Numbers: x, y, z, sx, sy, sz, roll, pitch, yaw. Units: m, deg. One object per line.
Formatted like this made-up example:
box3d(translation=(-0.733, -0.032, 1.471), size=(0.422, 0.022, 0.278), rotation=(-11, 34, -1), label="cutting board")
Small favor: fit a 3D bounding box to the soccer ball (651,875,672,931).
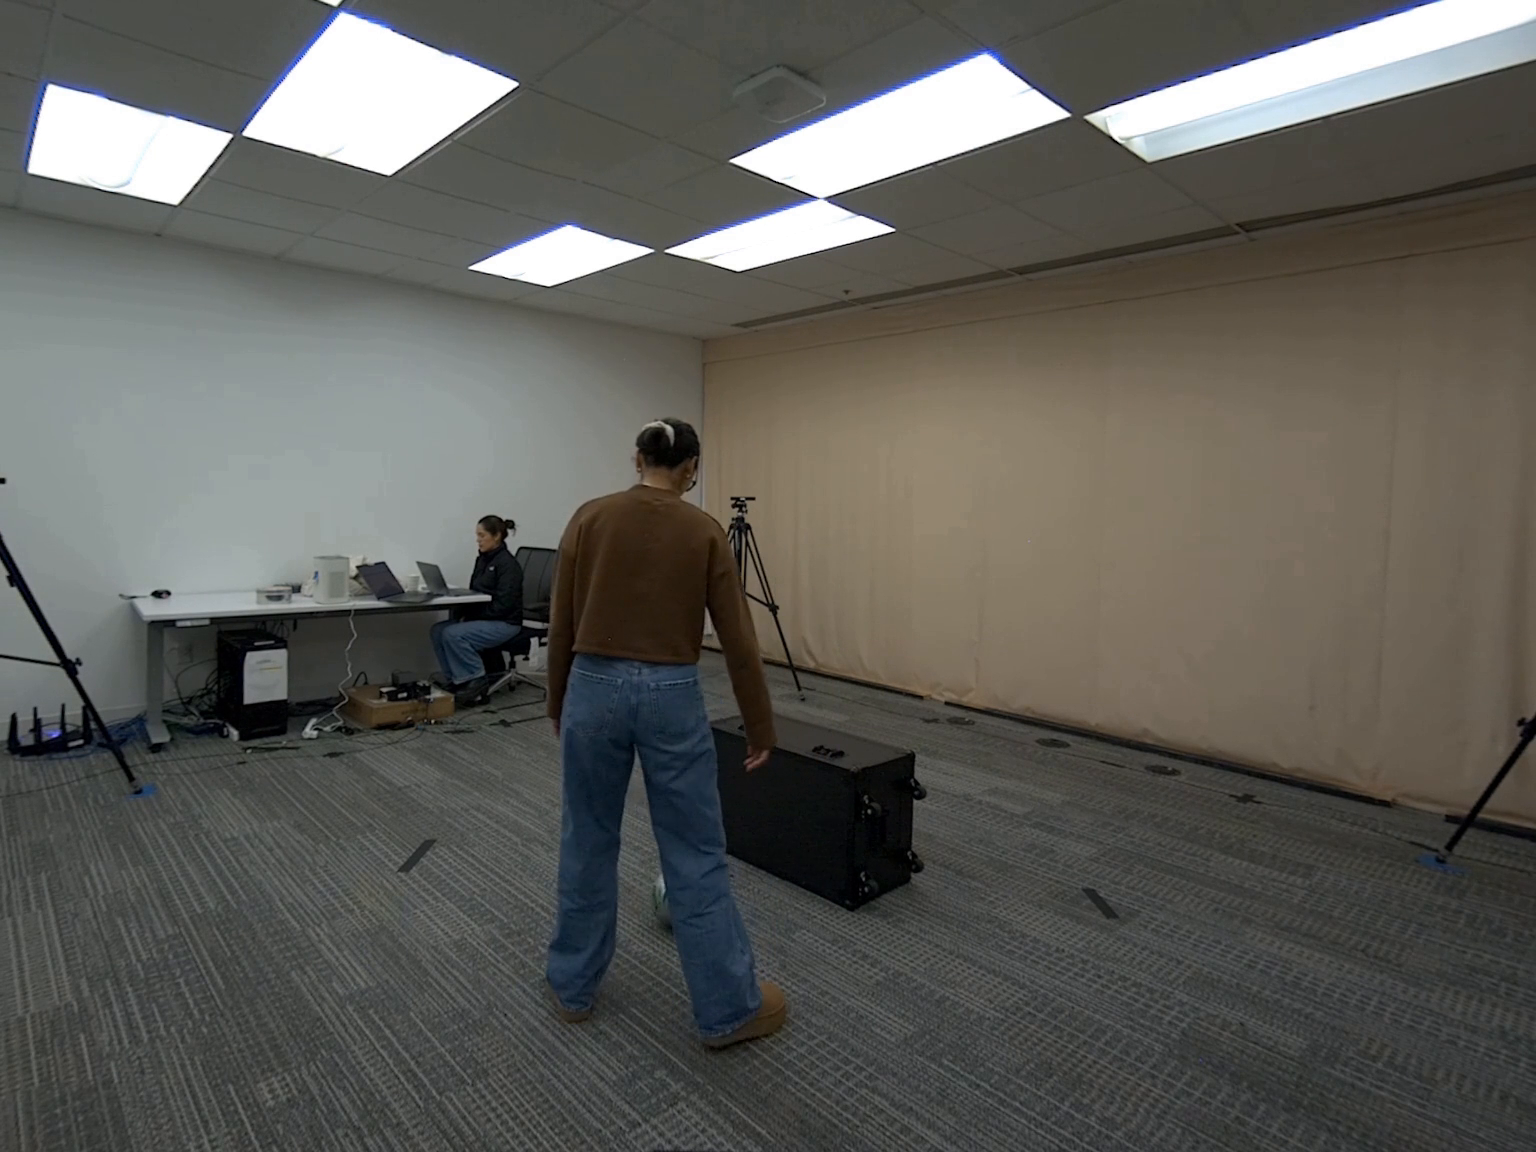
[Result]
box3d(translation=(-0.296, 1.048, 2.730), size=(0.187, 0.187, 0.188), rotation=(1, 4, -1), label="soccer ball")
